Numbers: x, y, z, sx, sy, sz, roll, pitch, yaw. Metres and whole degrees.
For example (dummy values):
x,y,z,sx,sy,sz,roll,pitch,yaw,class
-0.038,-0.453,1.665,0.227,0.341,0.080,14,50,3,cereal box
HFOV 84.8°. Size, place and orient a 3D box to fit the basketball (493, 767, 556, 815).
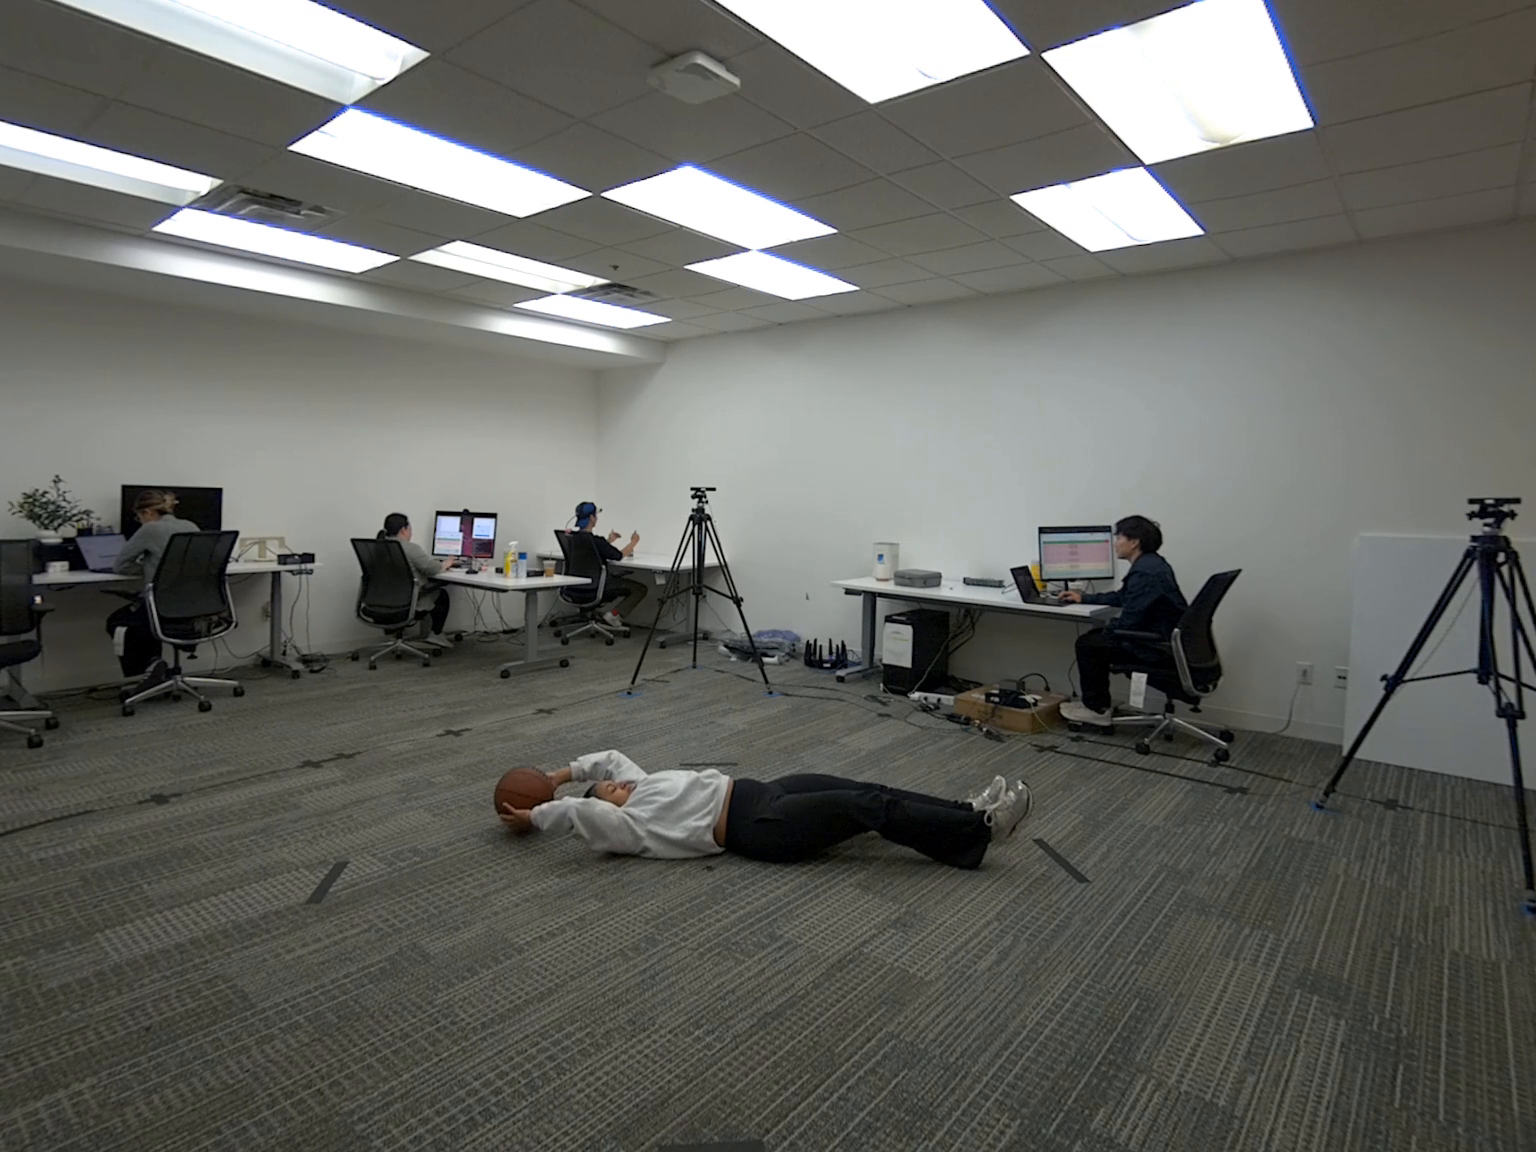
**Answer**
x,y,z,sx,sy,sz,roll,pitch,yaw,class
-0.994,0.872,3.430,0.236,0.235,0.237,0,4,-2,basketball
